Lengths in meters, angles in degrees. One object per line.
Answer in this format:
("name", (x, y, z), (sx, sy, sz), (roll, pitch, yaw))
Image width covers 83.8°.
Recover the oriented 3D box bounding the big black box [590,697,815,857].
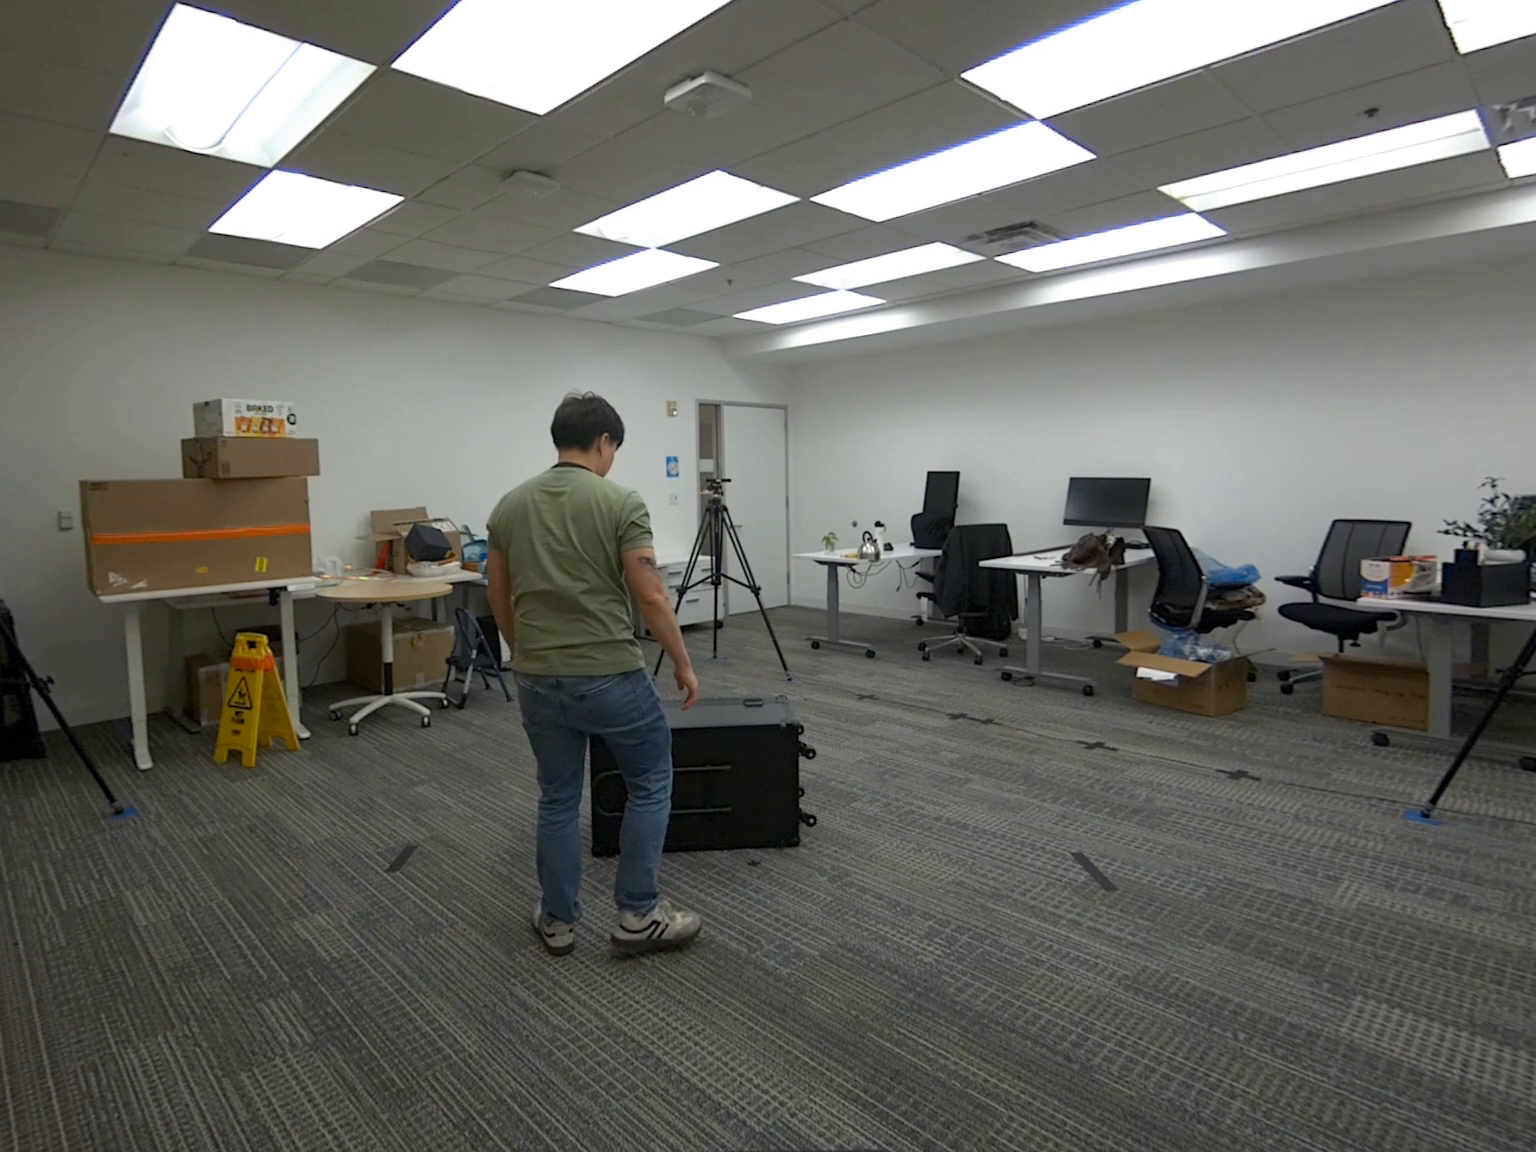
("big black box", (-0.255, 0.763, 3.344), (0.857, 0.518, 0.401), (-2, 7, -5))
